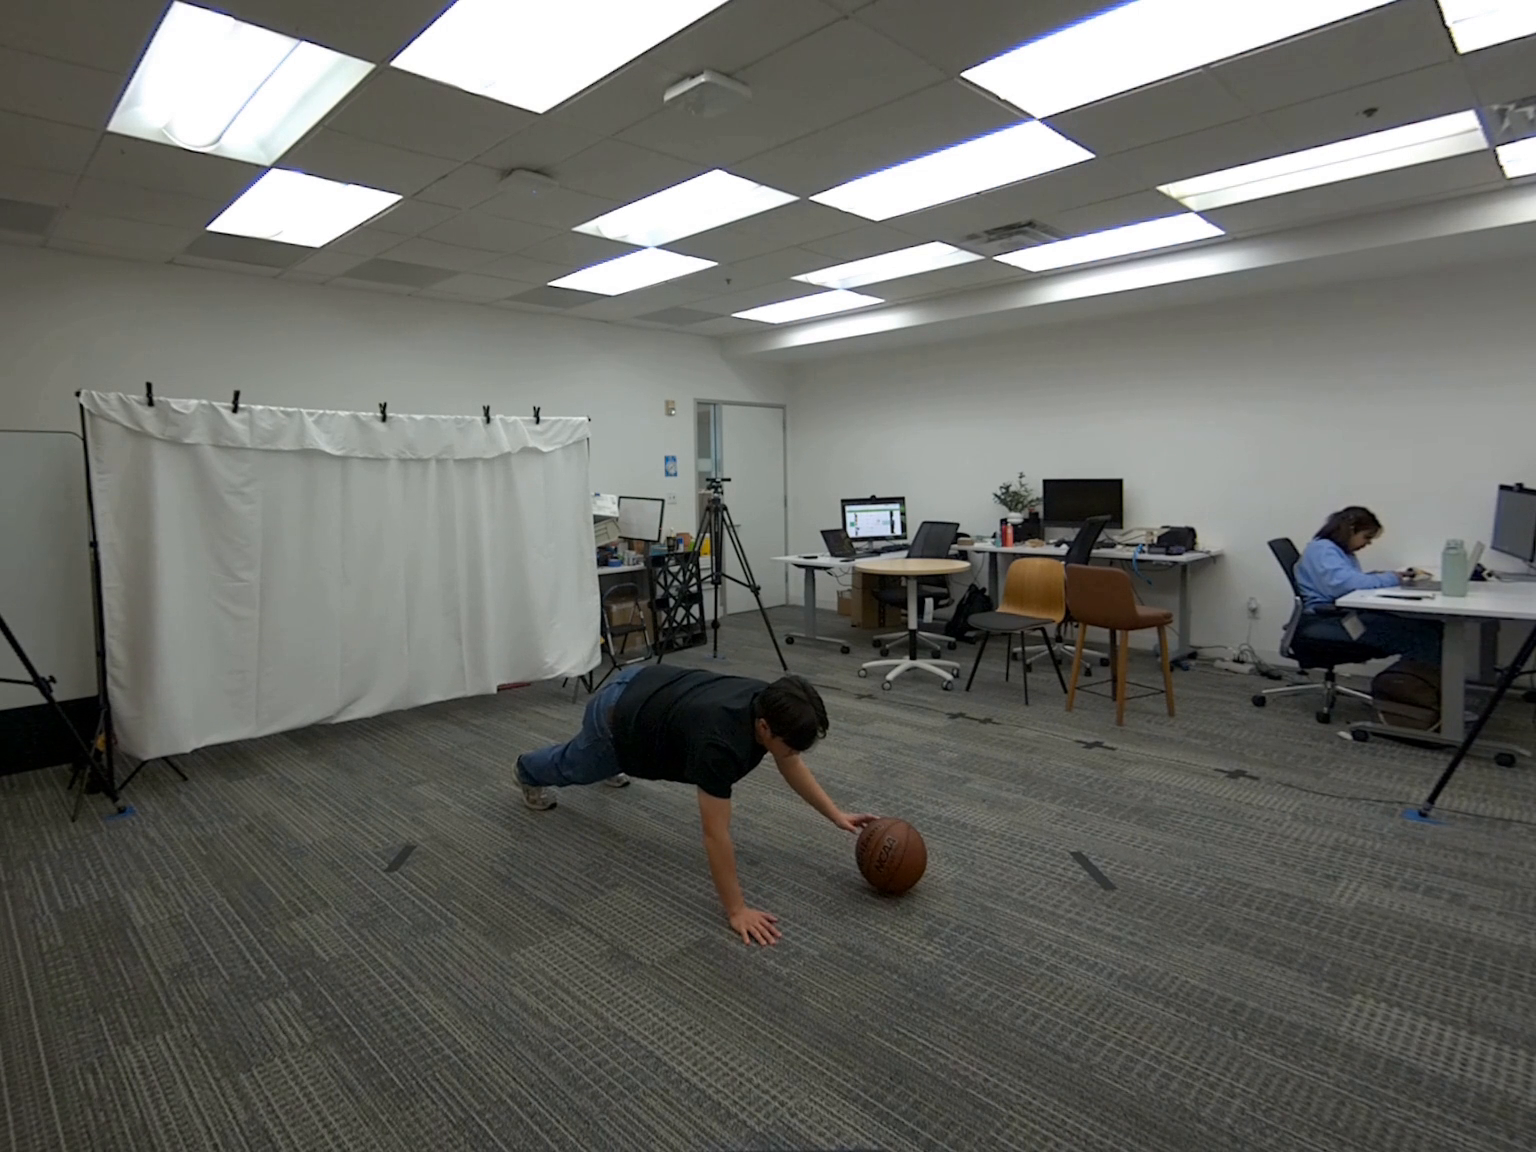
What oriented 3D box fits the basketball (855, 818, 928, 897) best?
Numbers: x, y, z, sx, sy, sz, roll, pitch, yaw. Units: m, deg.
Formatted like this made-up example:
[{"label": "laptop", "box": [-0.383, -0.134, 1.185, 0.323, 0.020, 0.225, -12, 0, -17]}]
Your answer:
[{"label": "basketball", "box": [0.424, 0.940, 2.879, 0.236, 0.235, 0.237, -1, 5, -2]}]
